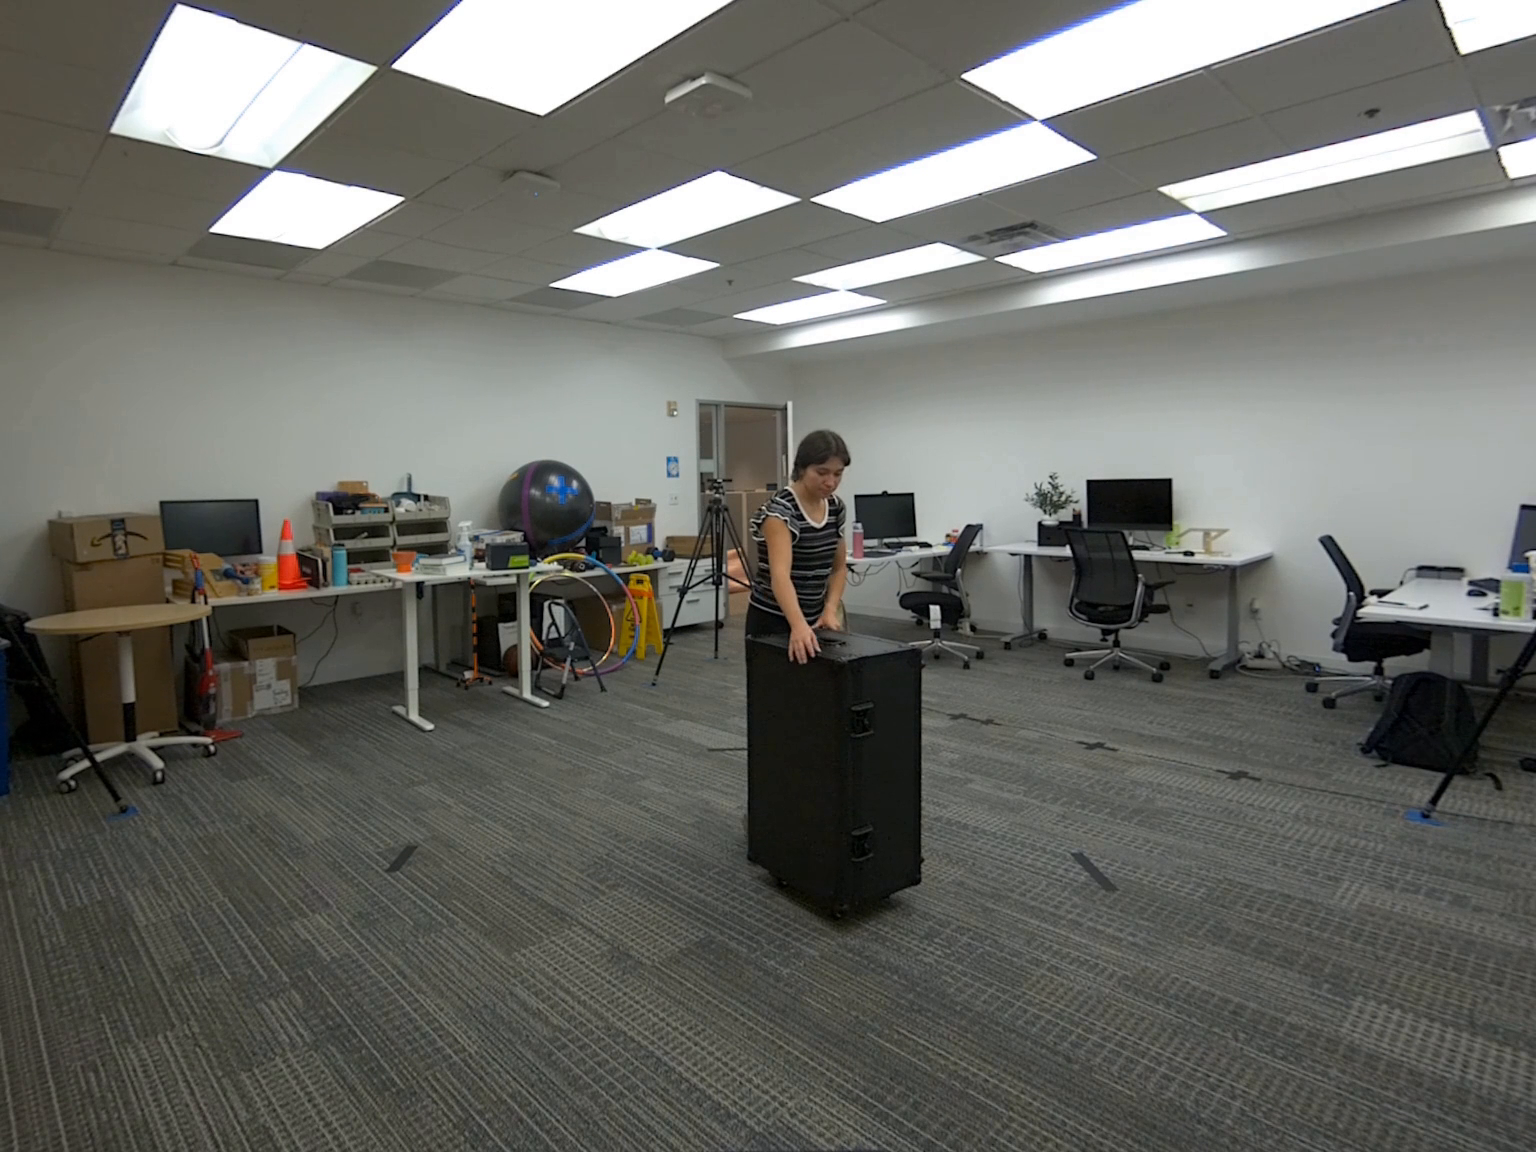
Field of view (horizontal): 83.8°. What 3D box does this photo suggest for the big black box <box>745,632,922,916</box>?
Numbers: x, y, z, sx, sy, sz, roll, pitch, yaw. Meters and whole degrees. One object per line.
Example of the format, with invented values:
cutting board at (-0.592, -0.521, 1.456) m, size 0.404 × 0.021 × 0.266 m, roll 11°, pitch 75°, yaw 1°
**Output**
big black box at (0.222, 0.647, 2.864) m, size 0.386 × 0.859 × 0.536 m, roll -3°, pitch 4°, yaw -37°
